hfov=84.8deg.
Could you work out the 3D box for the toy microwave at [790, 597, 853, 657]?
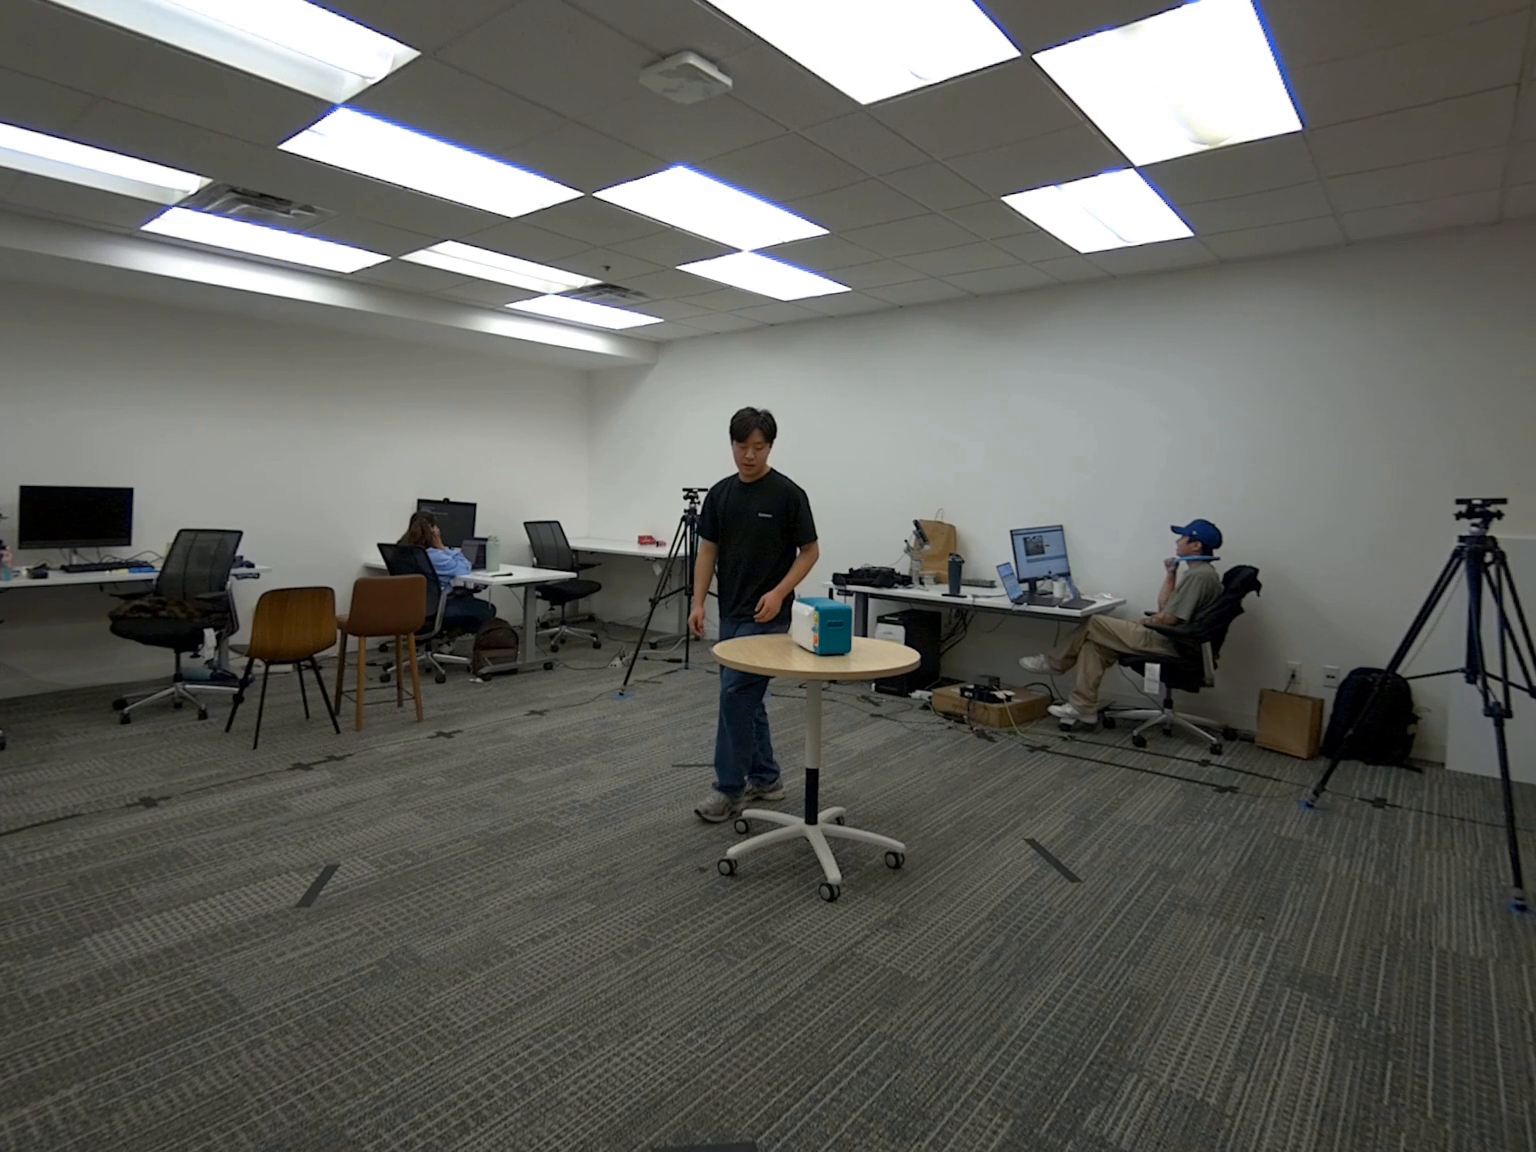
[{"bbox_3d":[0.185,0.180,3.189,0.150,0.183,0.291,0,5,-15],"label":"toy microwave"}]
